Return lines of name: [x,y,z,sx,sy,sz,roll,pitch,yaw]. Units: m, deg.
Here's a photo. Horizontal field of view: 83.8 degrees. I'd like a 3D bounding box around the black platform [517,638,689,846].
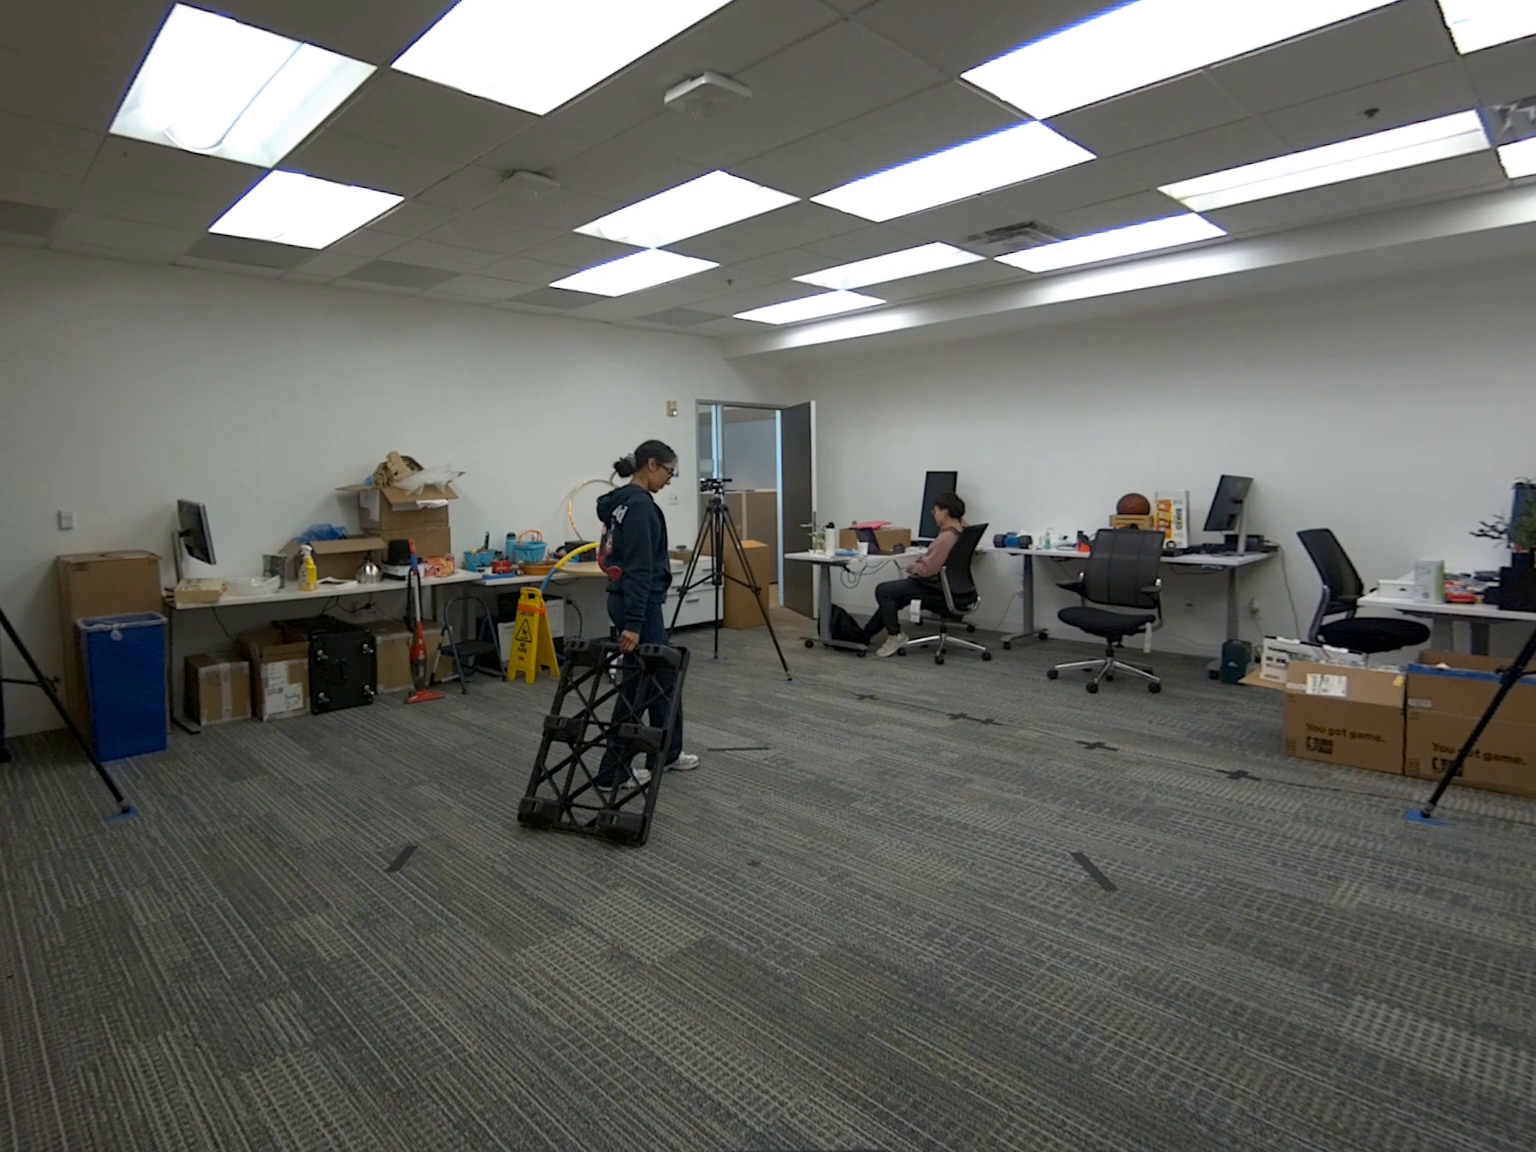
black platform: [-0.684,0.643,3.512,0.619,0.818,0.138,0,-28,25]
